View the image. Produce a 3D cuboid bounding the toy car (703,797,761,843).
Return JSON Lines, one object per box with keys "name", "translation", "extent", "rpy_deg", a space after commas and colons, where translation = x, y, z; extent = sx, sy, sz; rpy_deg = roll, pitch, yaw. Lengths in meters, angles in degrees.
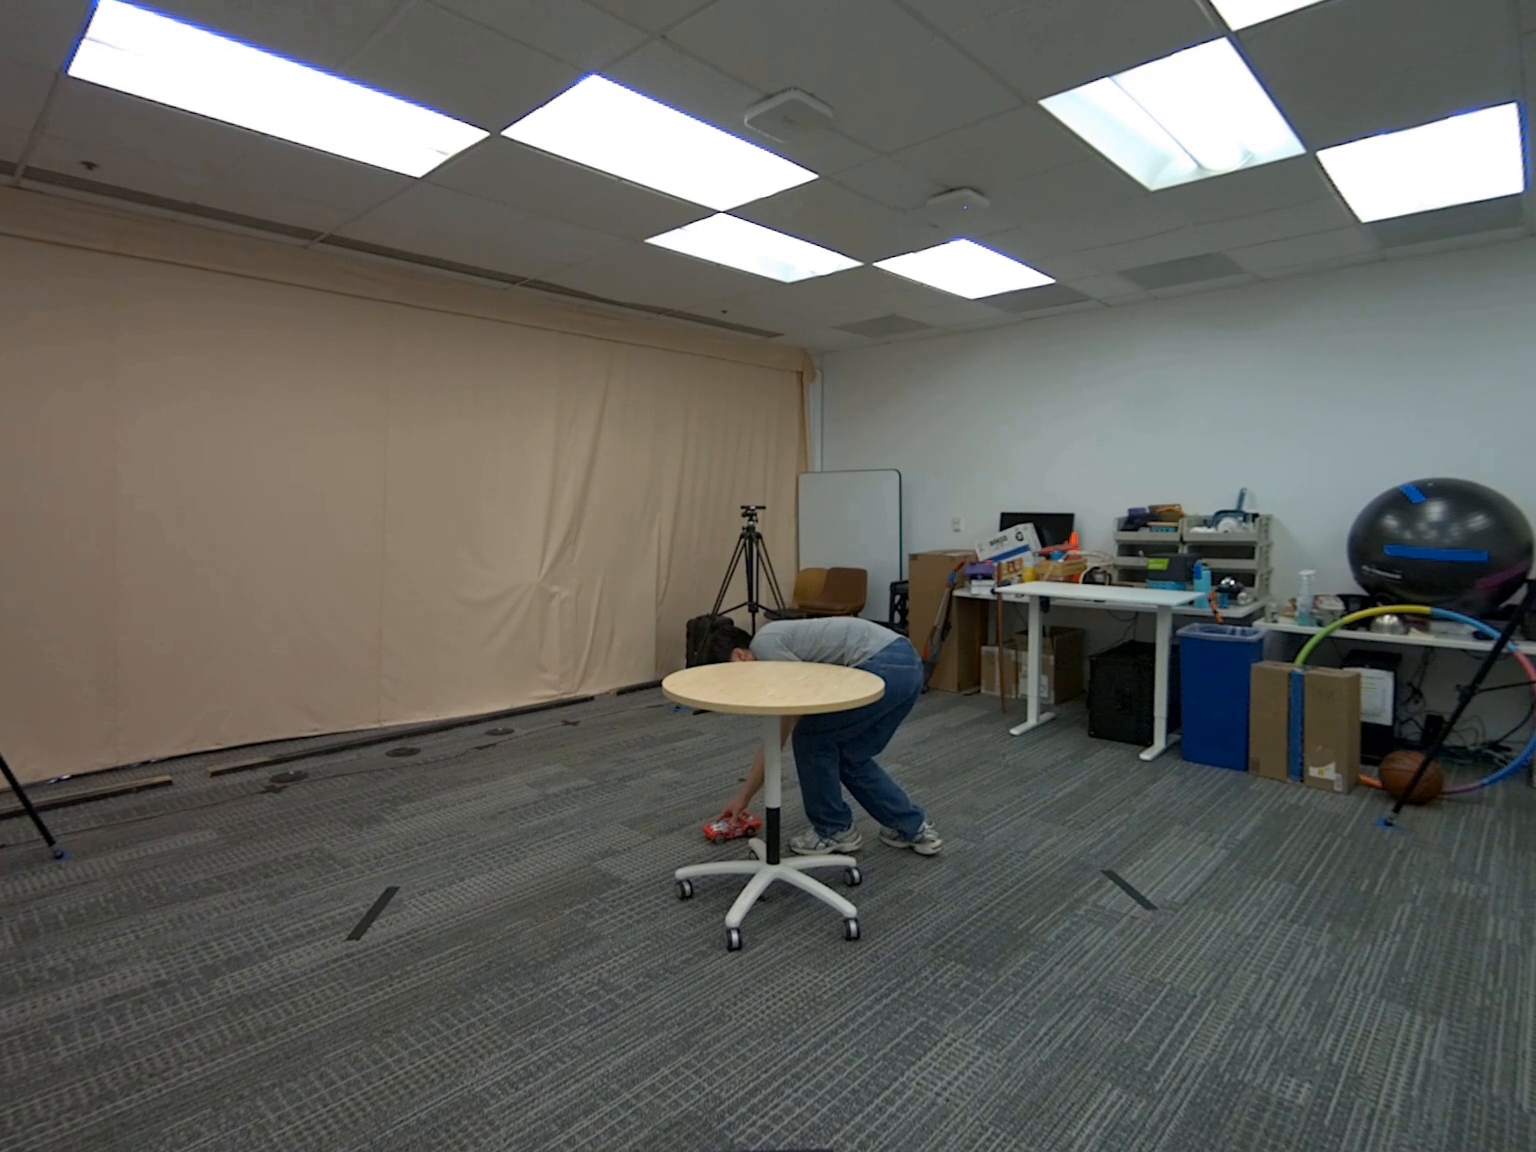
{"name": "toy car", "translation": [-0.138, 1.068, 3.563], "extent": [0.249, 0.082, 0.134], "rpy_deg": [-13, 10, -24]}
